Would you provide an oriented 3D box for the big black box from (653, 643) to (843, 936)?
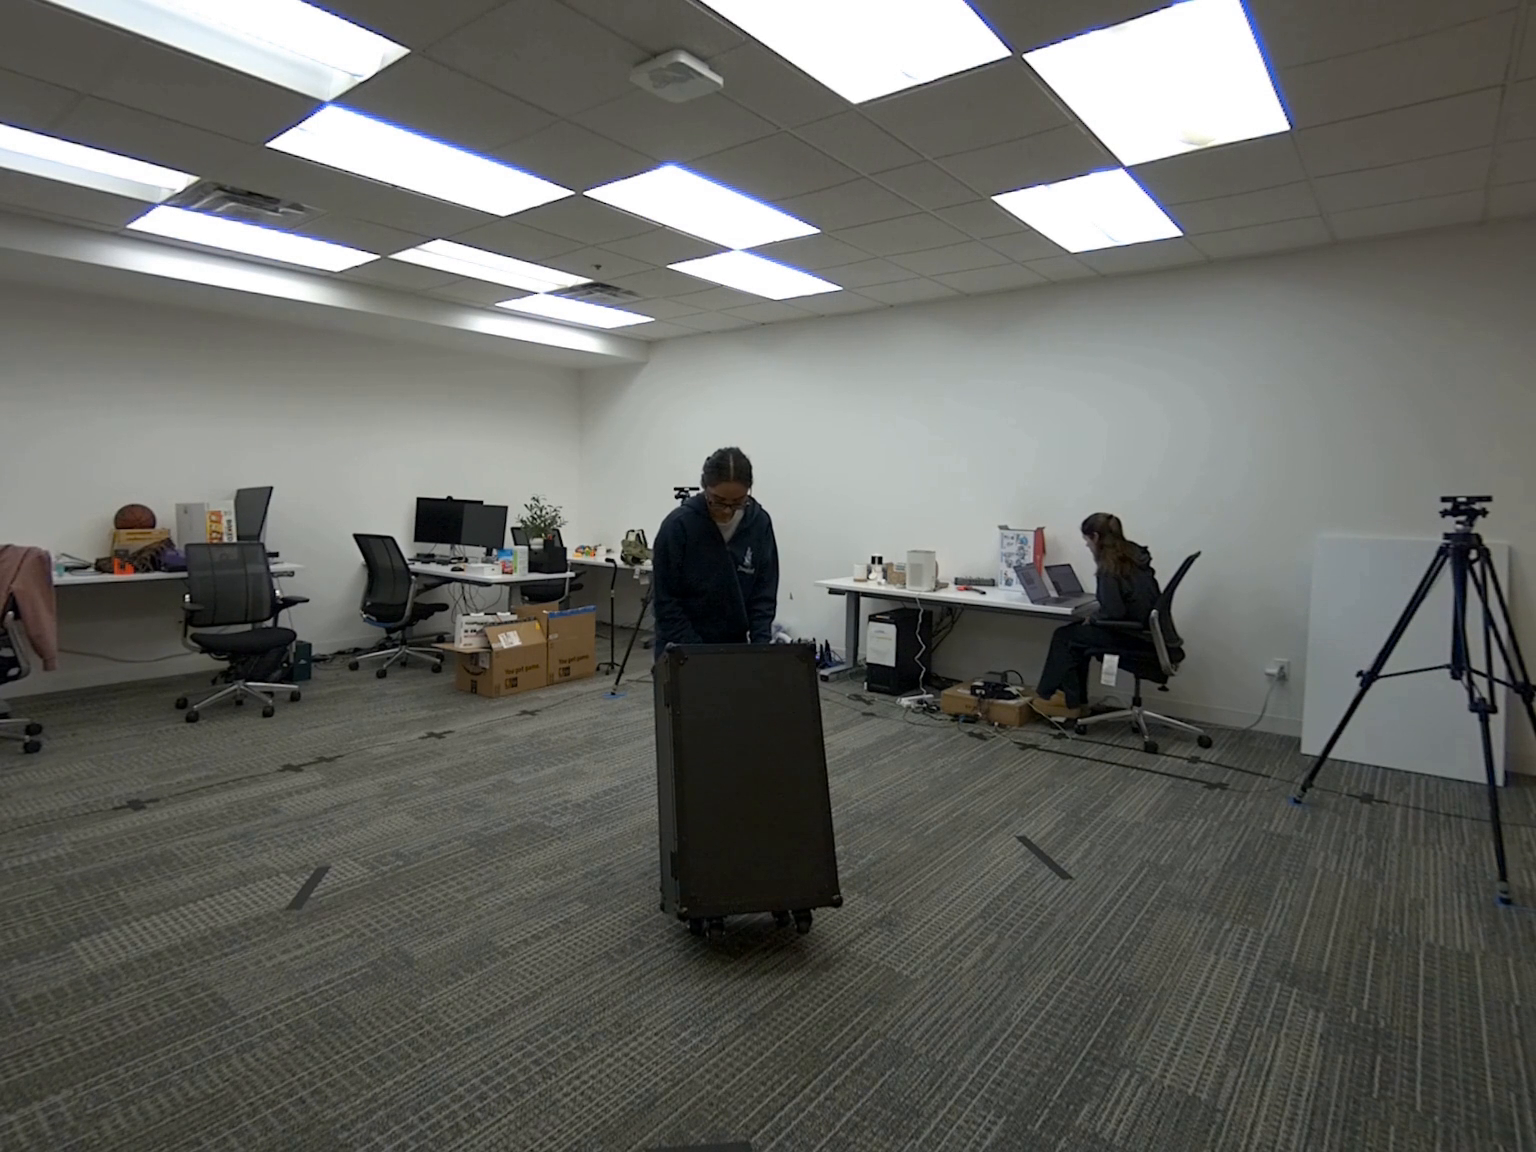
[{"bbox_3d":[-0.104,0.668,2.721,0.514,0.879,0.394,0,-20,-14],"label":"big black box"}]
